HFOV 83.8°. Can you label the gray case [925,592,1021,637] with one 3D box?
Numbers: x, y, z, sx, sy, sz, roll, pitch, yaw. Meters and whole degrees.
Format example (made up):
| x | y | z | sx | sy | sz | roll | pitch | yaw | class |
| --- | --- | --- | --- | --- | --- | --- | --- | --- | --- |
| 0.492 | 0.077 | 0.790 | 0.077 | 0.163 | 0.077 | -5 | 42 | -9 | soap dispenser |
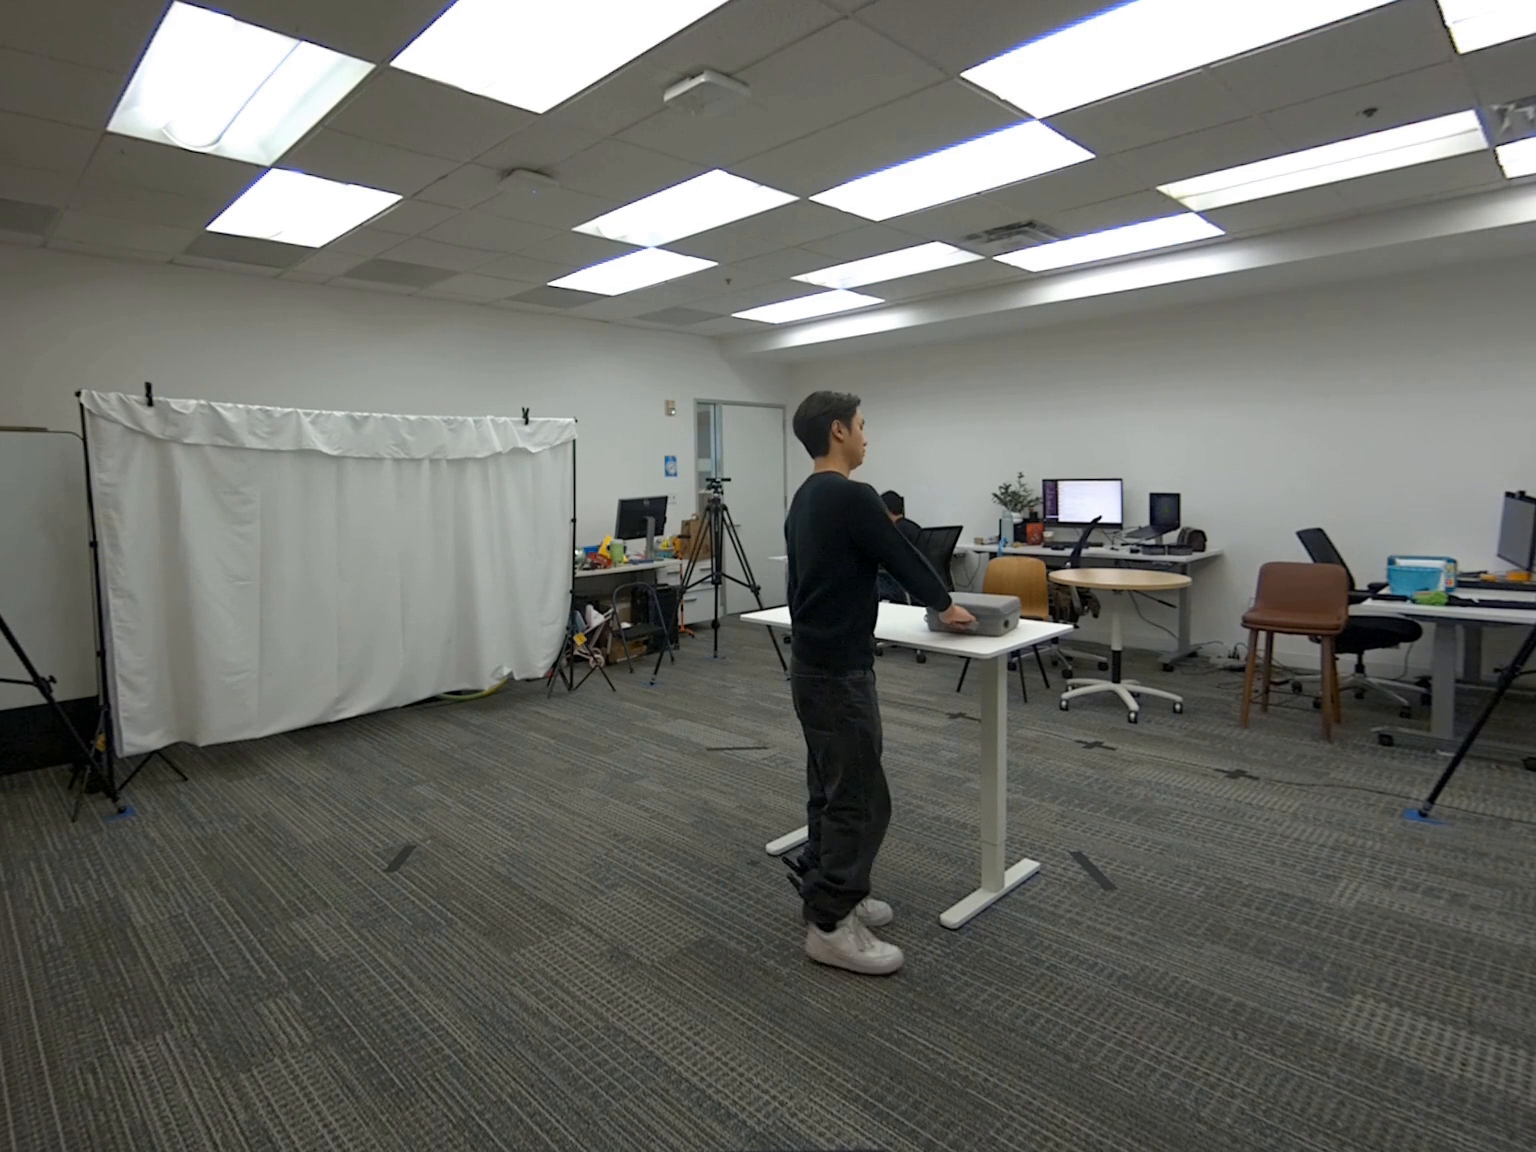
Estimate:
| x | y | z | sx | sy | sz | roll | pitch | yaw | class |
| --- | --- | --- | --- | --- | --- | --- | --- | --- | --- |
| 0.687 | 0.123 | 2.855 | 0.264 | 0.104 | 0.255 | 5 | 9 | 32 | gray case |
